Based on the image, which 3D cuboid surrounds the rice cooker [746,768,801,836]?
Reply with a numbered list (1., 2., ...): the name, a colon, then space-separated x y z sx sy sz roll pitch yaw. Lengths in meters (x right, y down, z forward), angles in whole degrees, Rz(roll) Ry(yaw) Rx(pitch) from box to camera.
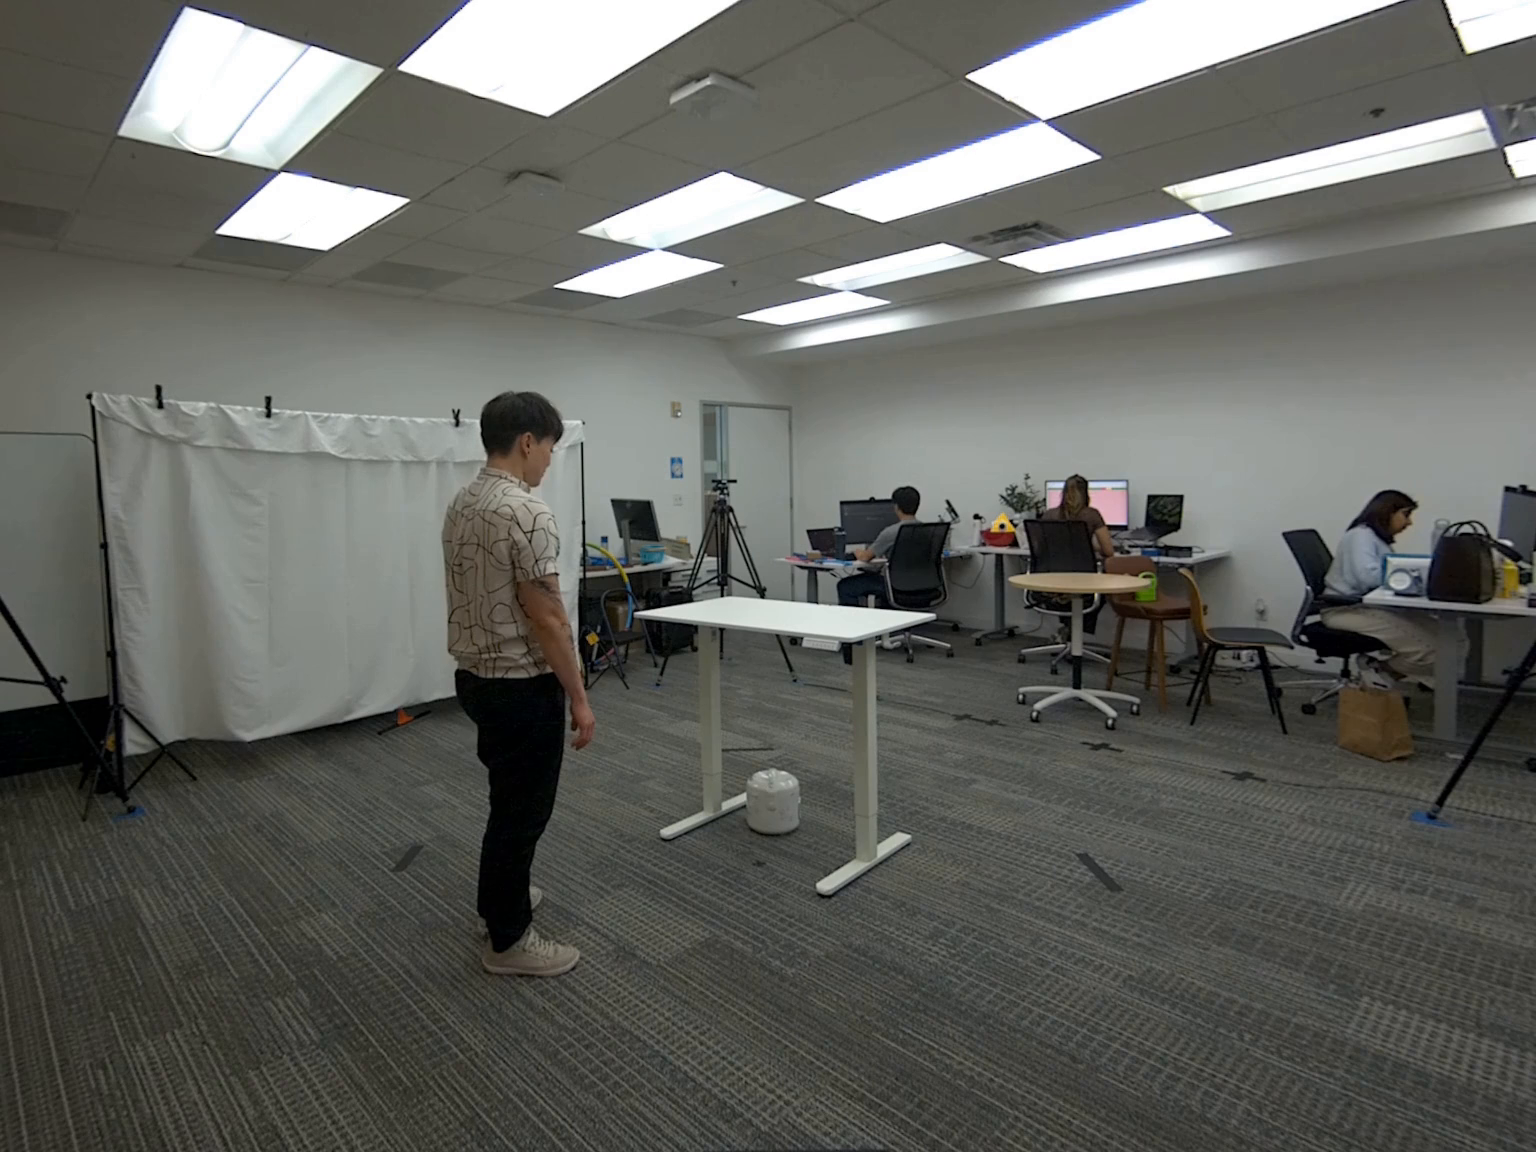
1. rice cooker: 0.025 0.893 3.428 0.219 0.232 0.220 -1 5 5
